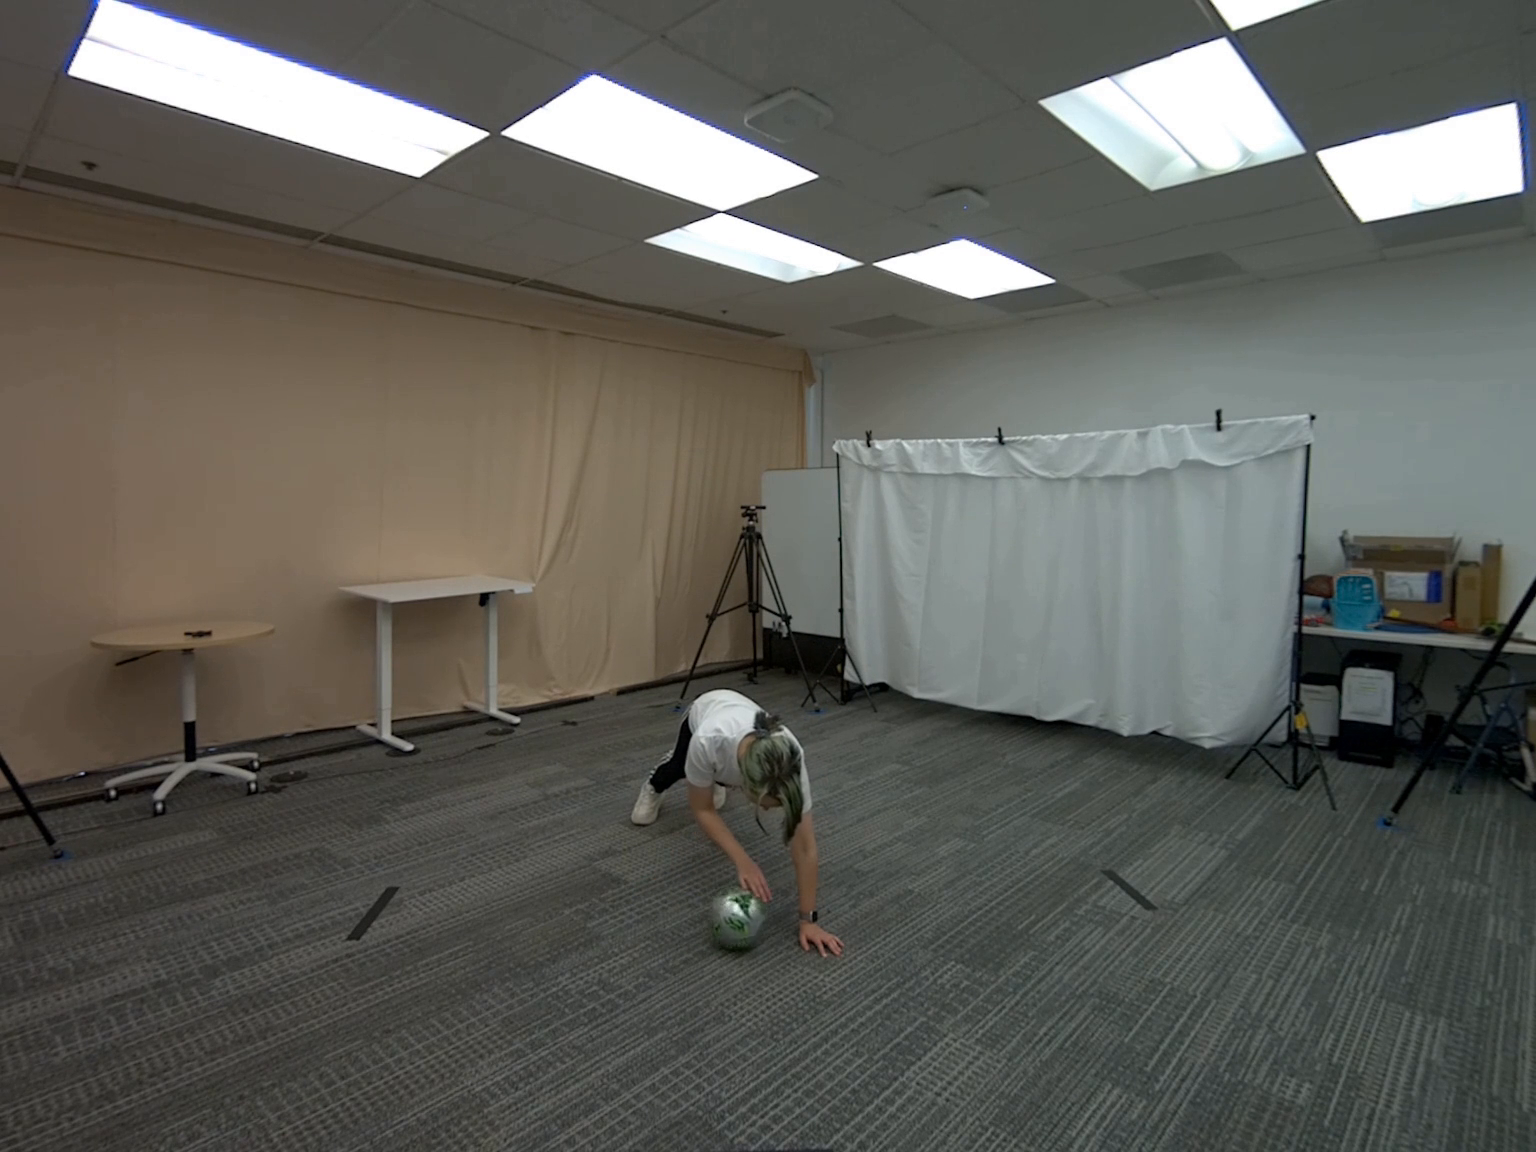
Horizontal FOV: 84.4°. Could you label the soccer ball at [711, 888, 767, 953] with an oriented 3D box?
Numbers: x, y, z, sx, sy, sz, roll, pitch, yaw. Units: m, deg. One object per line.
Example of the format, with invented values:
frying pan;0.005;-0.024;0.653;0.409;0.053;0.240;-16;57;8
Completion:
soccer ball;-0.094;1.073;2.665;0.187;0.187;0.188;0;4;-2
